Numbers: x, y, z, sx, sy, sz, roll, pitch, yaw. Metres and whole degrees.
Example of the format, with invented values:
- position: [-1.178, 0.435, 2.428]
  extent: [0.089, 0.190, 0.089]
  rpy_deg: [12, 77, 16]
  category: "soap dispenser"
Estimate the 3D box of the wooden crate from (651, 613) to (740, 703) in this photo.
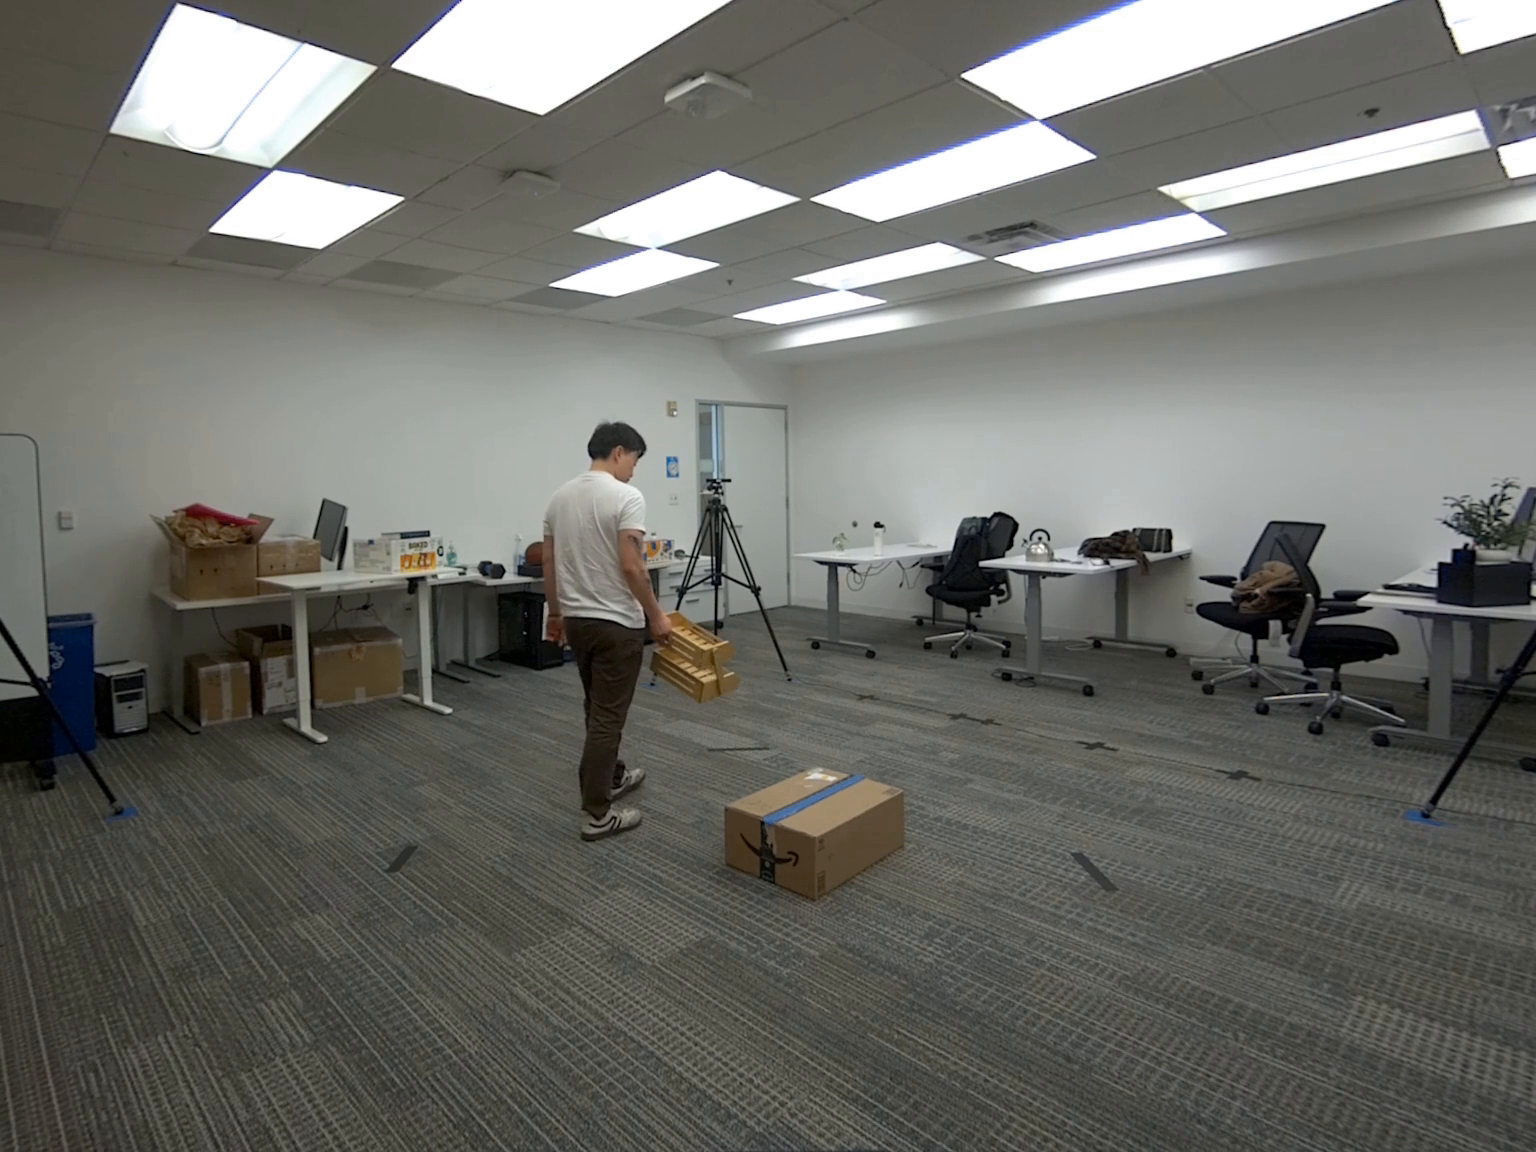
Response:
- position: [-0.298, 0.313, 3.568]
  extent: [0.336, 0.270, 0.295]
  rpy_deg: [27, 24, 34]
  category: "wooden crate"
